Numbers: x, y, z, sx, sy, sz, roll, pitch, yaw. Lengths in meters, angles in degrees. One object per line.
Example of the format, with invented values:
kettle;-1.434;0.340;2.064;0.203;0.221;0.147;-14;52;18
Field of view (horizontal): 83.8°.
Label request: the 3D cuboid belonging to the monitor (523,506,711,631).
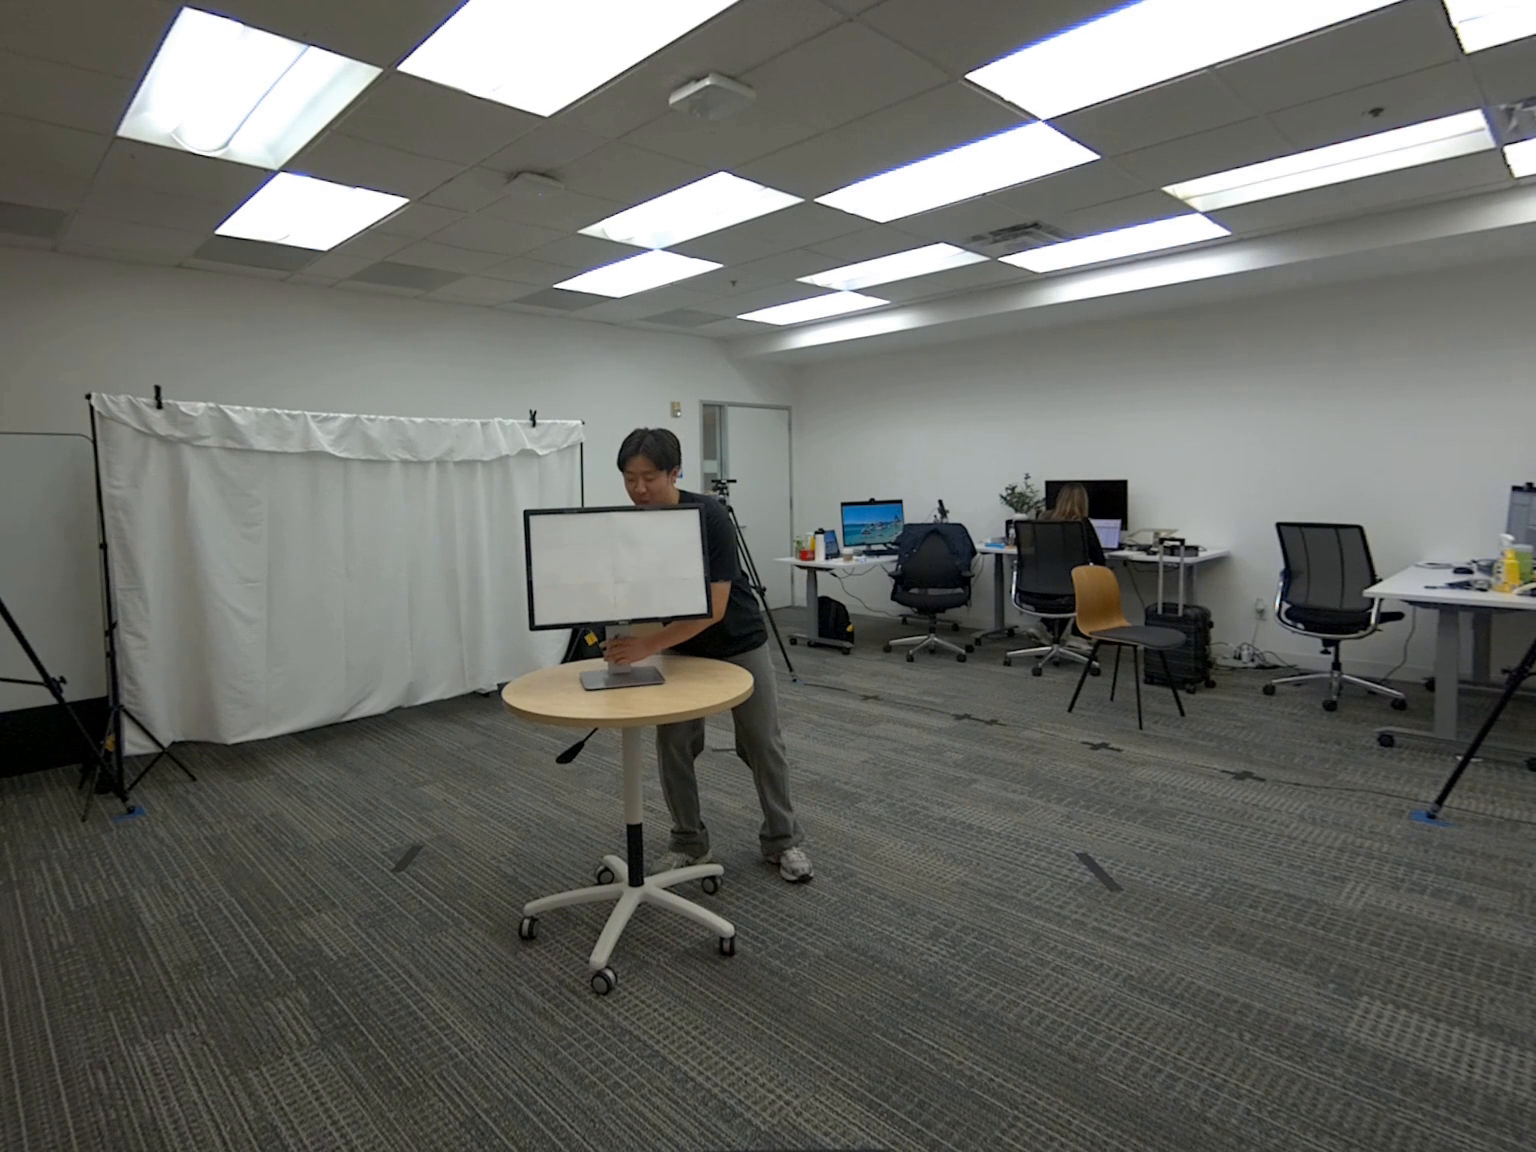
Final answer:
monitor;-0.467;0.067;2.637;0.555;0.562;0.226;-3;7;-12
